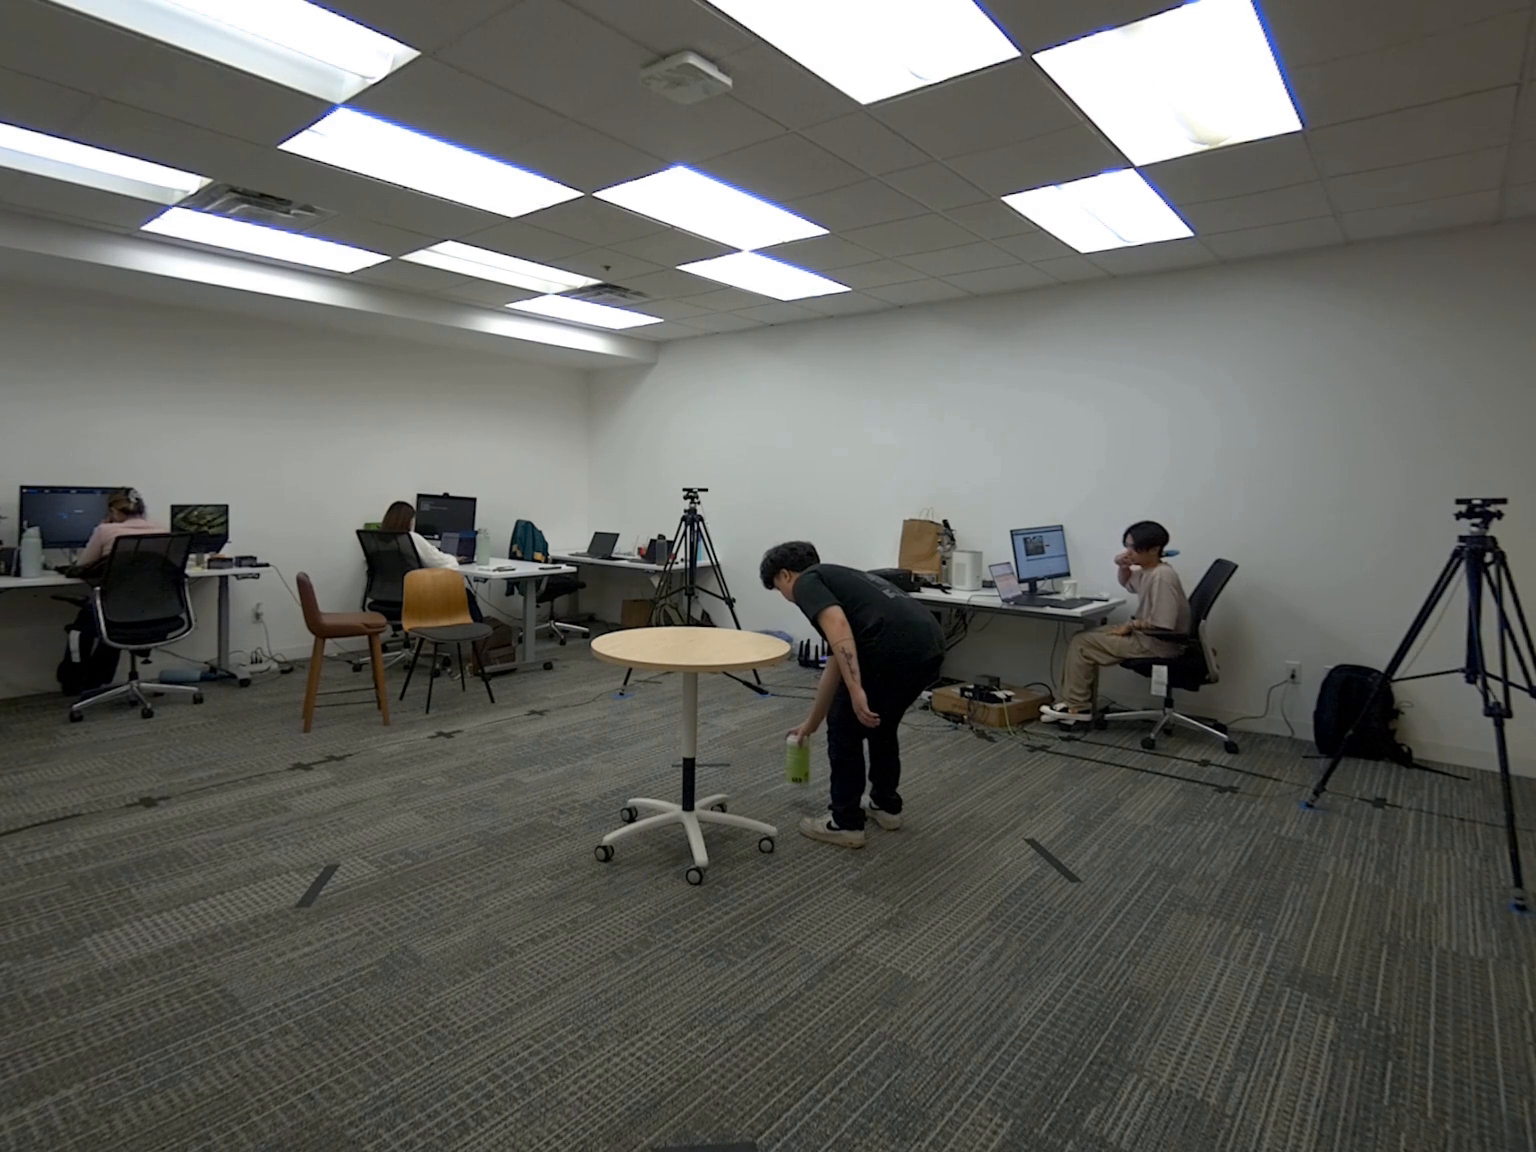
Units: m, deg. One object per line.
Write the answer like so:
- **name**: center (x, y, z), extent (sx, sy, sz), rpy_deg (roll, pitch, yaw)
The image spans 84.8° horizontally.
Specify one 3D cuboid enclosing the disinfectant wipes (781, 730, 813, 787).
- **disinfectant wipes**: center (0.127, 0.819, 3.791), extent (0.118, 0.218, 0.118), rpy_deg (3, -1, -2)
